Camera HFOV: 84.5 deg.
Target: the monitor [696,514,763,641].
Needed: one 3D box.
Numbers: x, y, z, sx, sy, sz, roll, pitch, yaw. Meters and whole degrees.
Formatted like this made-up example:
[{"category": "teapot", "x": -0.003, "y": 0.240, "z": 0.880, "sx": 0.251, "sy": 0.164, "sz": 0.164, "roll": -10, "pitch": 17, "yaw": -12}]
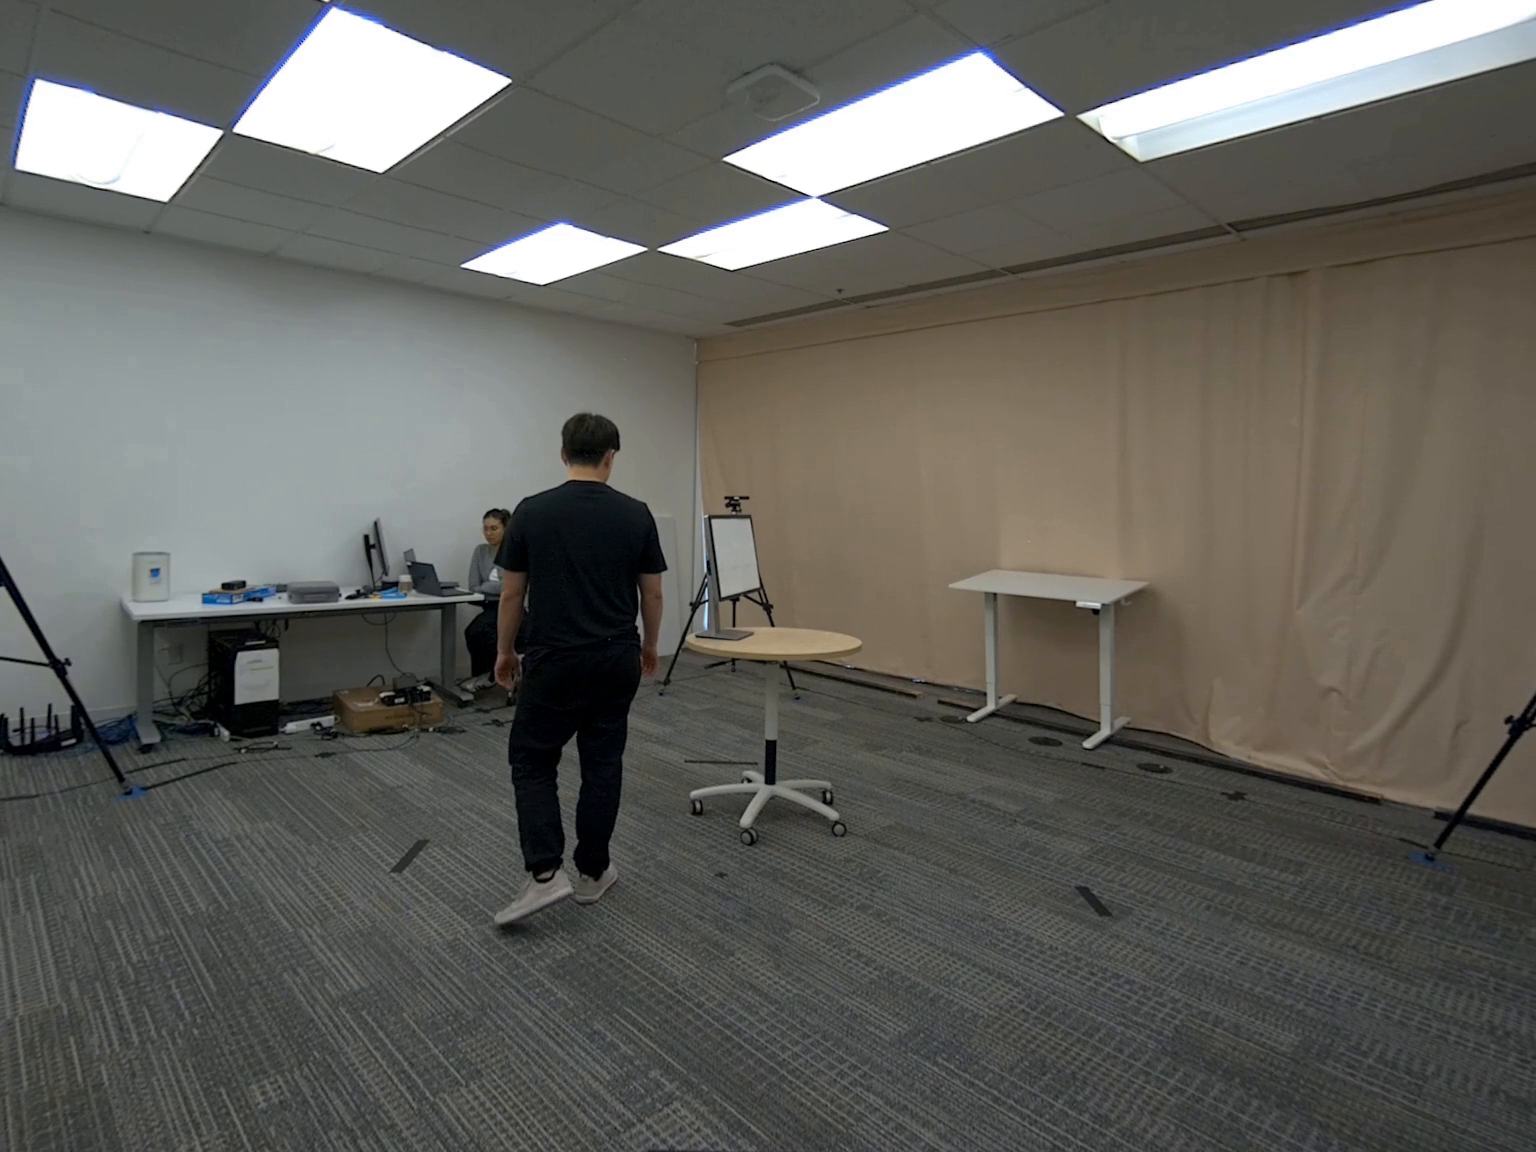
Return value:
[{"category": "monitor", "x": -0.195, "y": 0.003, "z": 3.749, "sx": 0.189, "sy": 0.522, "sz": 0.533, "roll": 3, "pitch": 3, "yaw": 15}]
